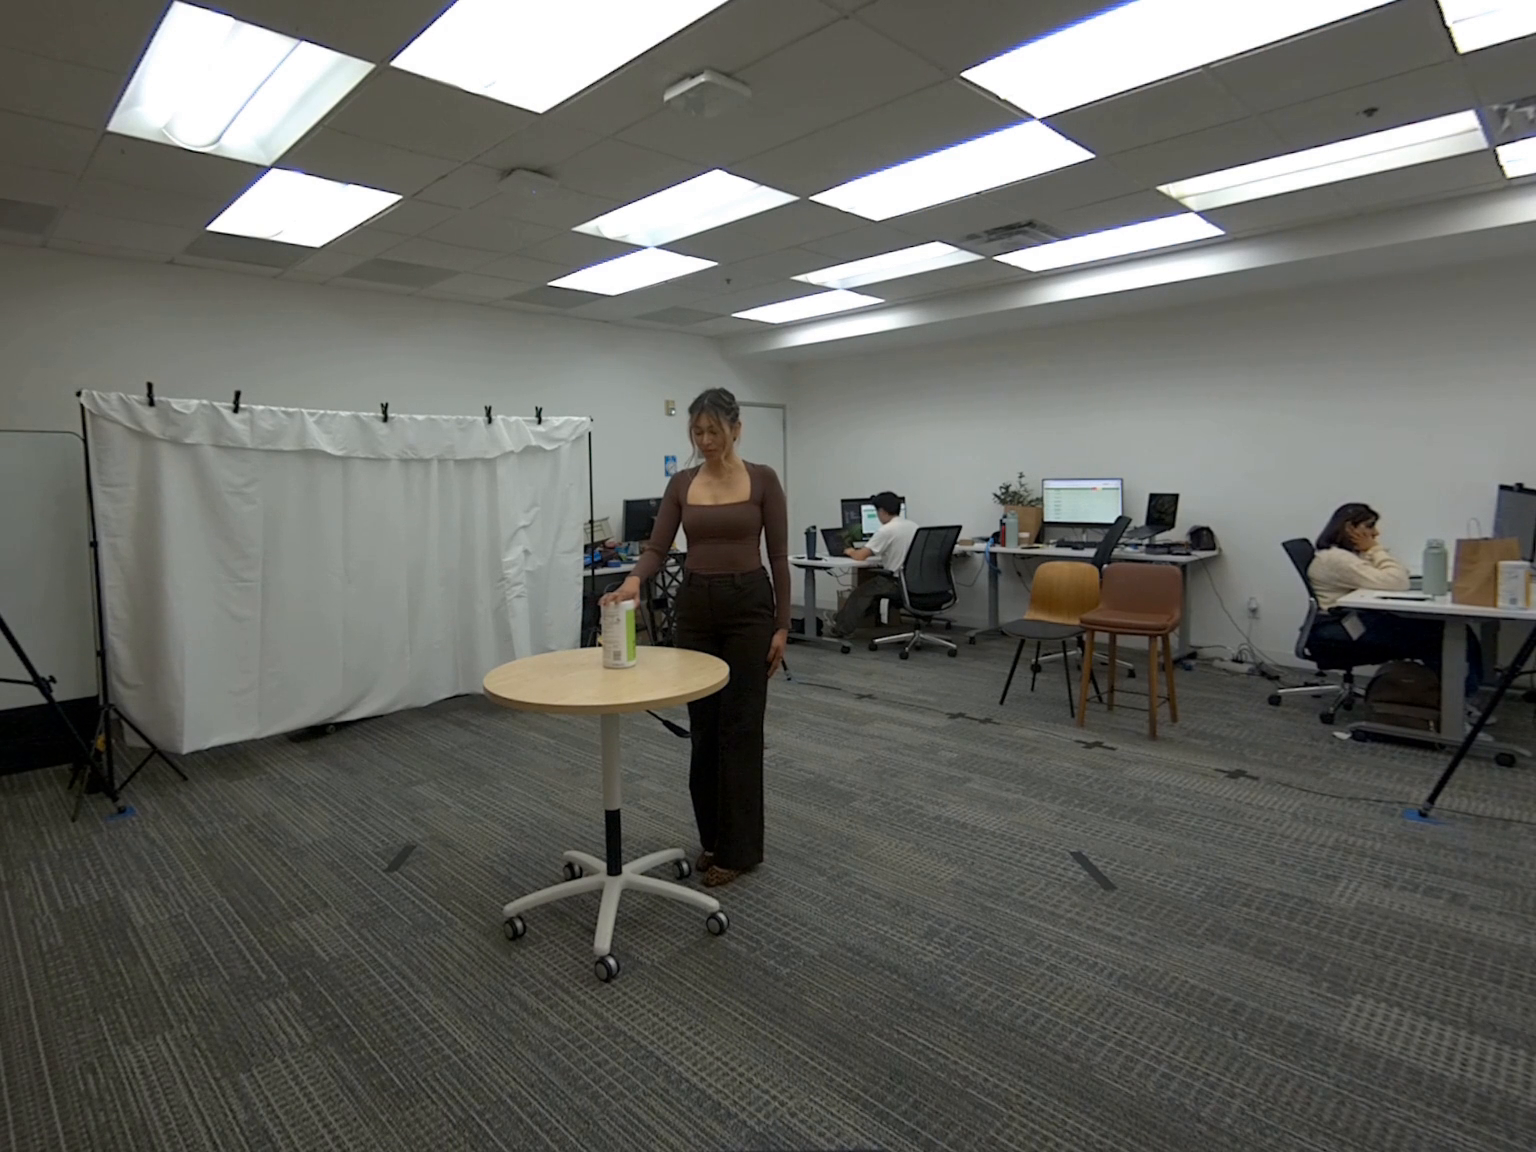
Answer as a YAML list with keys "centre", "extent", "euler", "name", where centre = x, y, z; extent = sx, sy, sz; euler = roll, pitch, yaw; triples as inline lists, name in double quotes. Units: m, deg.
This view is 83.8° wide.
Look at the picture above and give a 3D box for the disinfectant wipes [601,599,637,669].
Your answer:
- centre: [-0.482, 0.185, 2.766]
  extent: [0.118, 0.217, 0.118]
  euler: [1, 3, -2]
  name: "disinfectant wipes"
